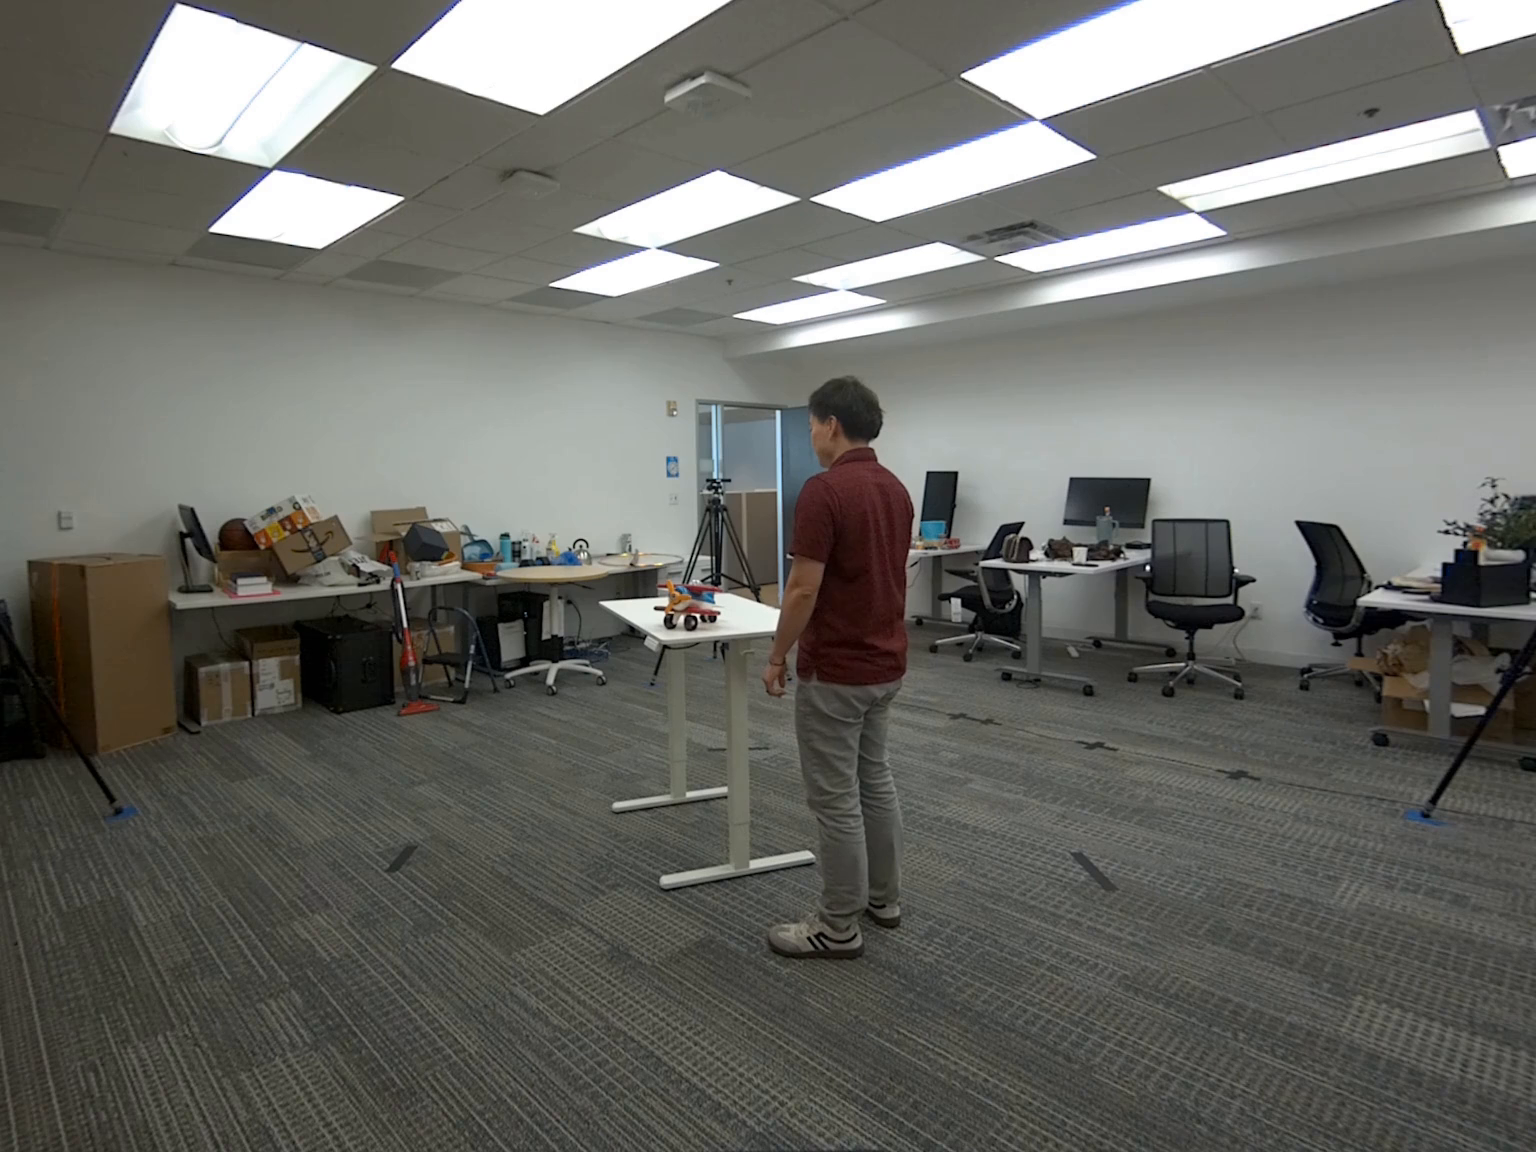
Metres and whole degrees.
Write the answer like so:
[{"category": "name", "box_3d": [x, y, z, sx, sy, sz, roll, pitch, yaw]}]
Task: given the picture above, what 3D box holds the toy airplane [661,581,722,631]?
[{"category": "toy airplane", "box_3d": [-0.276, 0.099, 3.012, 0.252, 0.156, 0.260, -1, 6, 2]}]
